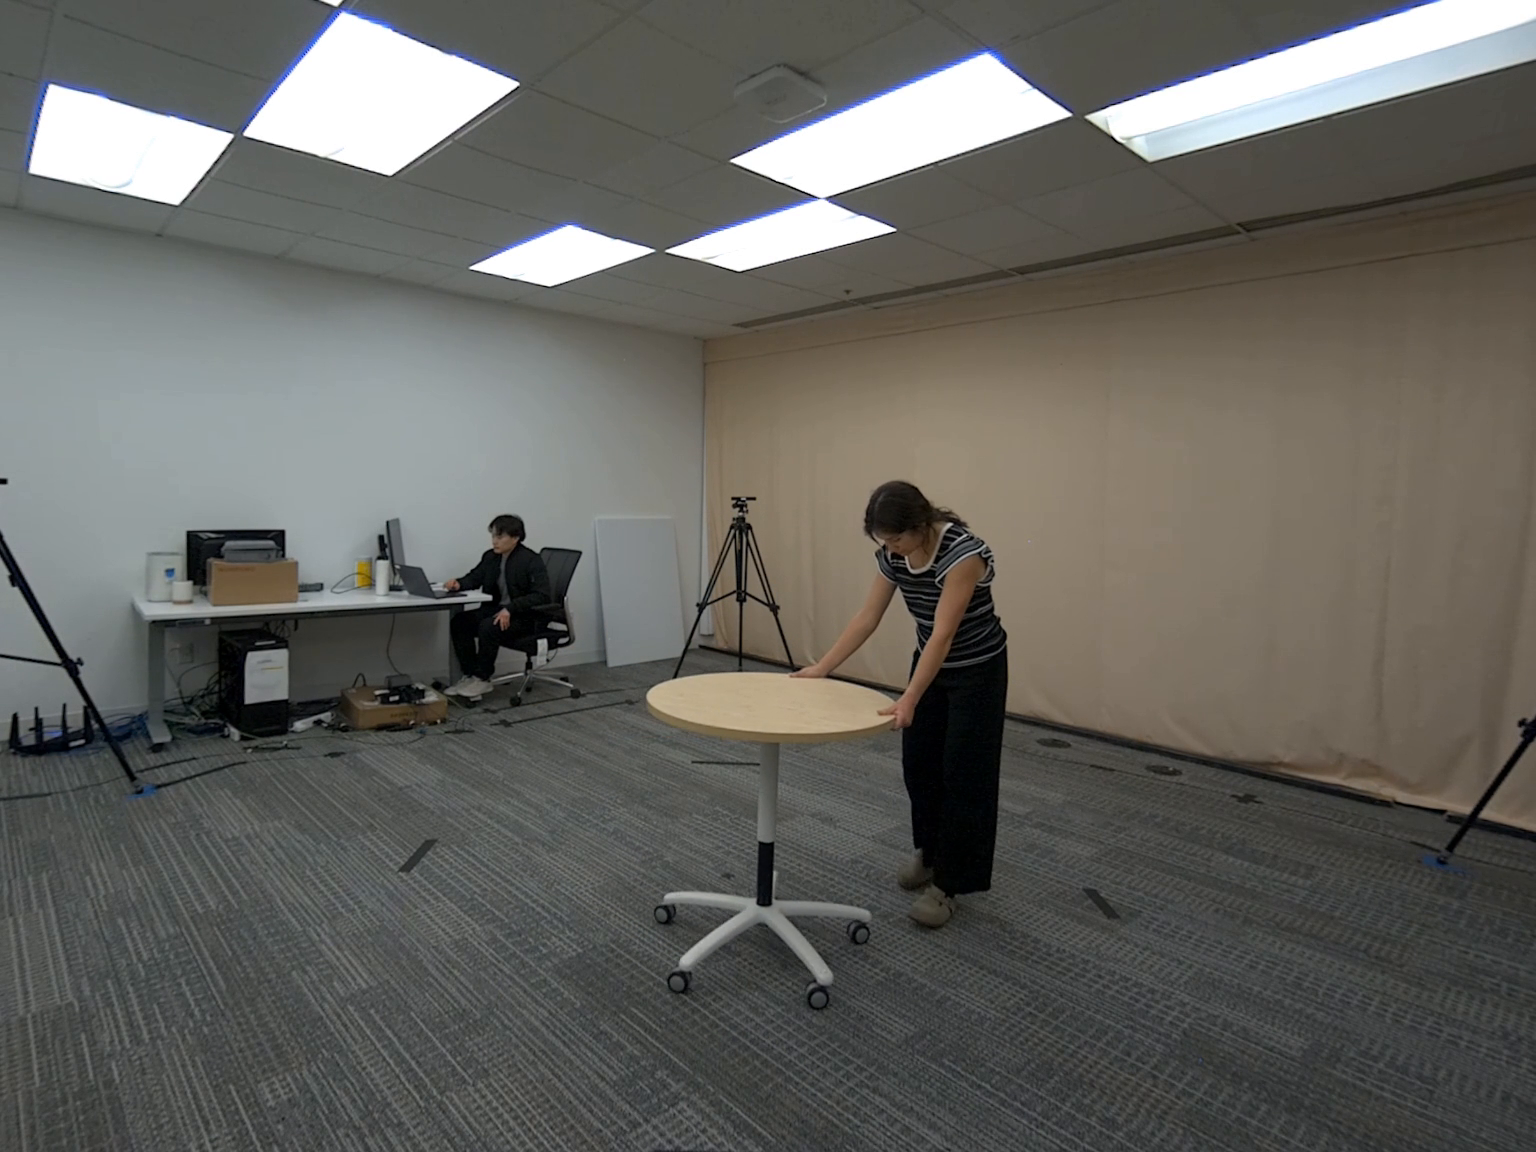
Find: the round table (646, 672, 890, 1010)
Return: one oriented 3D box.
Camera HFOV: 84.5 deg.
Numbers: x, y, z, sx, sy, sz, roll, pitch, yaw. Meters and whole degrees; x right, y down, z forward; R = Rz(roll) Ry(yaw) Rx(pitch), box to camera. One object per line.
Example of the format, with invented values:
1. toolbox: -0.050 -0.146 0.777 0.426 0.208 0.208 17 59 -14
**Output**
1. round table: -0.021 0.769 2.590 0.763 0.792 0.767 2 4 -2
